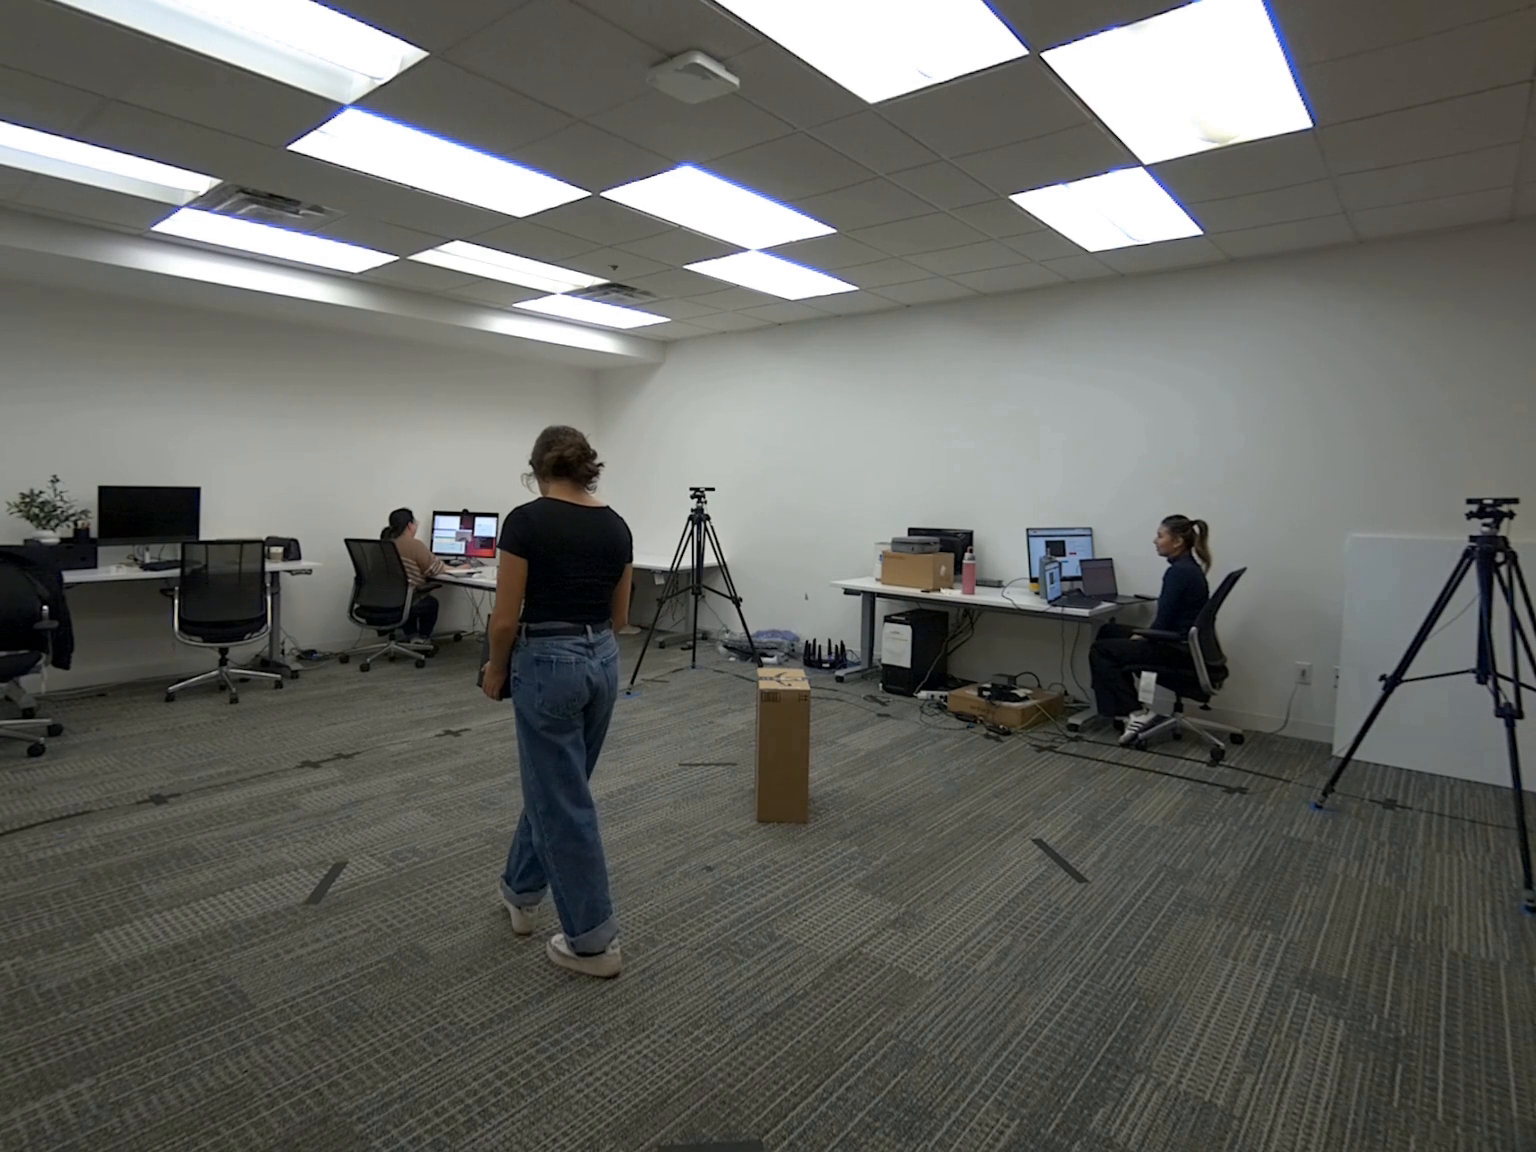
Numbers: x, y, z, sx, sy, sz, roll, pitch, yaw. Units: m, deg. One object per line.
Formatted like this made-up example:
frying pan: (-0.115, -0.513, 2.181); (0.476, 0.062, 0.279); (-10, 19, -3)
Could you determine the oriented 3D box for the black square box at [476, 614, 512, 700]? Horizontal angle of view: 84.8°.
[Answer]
black square box: (-0.772, 0.240, 2.667); (0.162, 0.227, 0.209); (11, 3, 44)
